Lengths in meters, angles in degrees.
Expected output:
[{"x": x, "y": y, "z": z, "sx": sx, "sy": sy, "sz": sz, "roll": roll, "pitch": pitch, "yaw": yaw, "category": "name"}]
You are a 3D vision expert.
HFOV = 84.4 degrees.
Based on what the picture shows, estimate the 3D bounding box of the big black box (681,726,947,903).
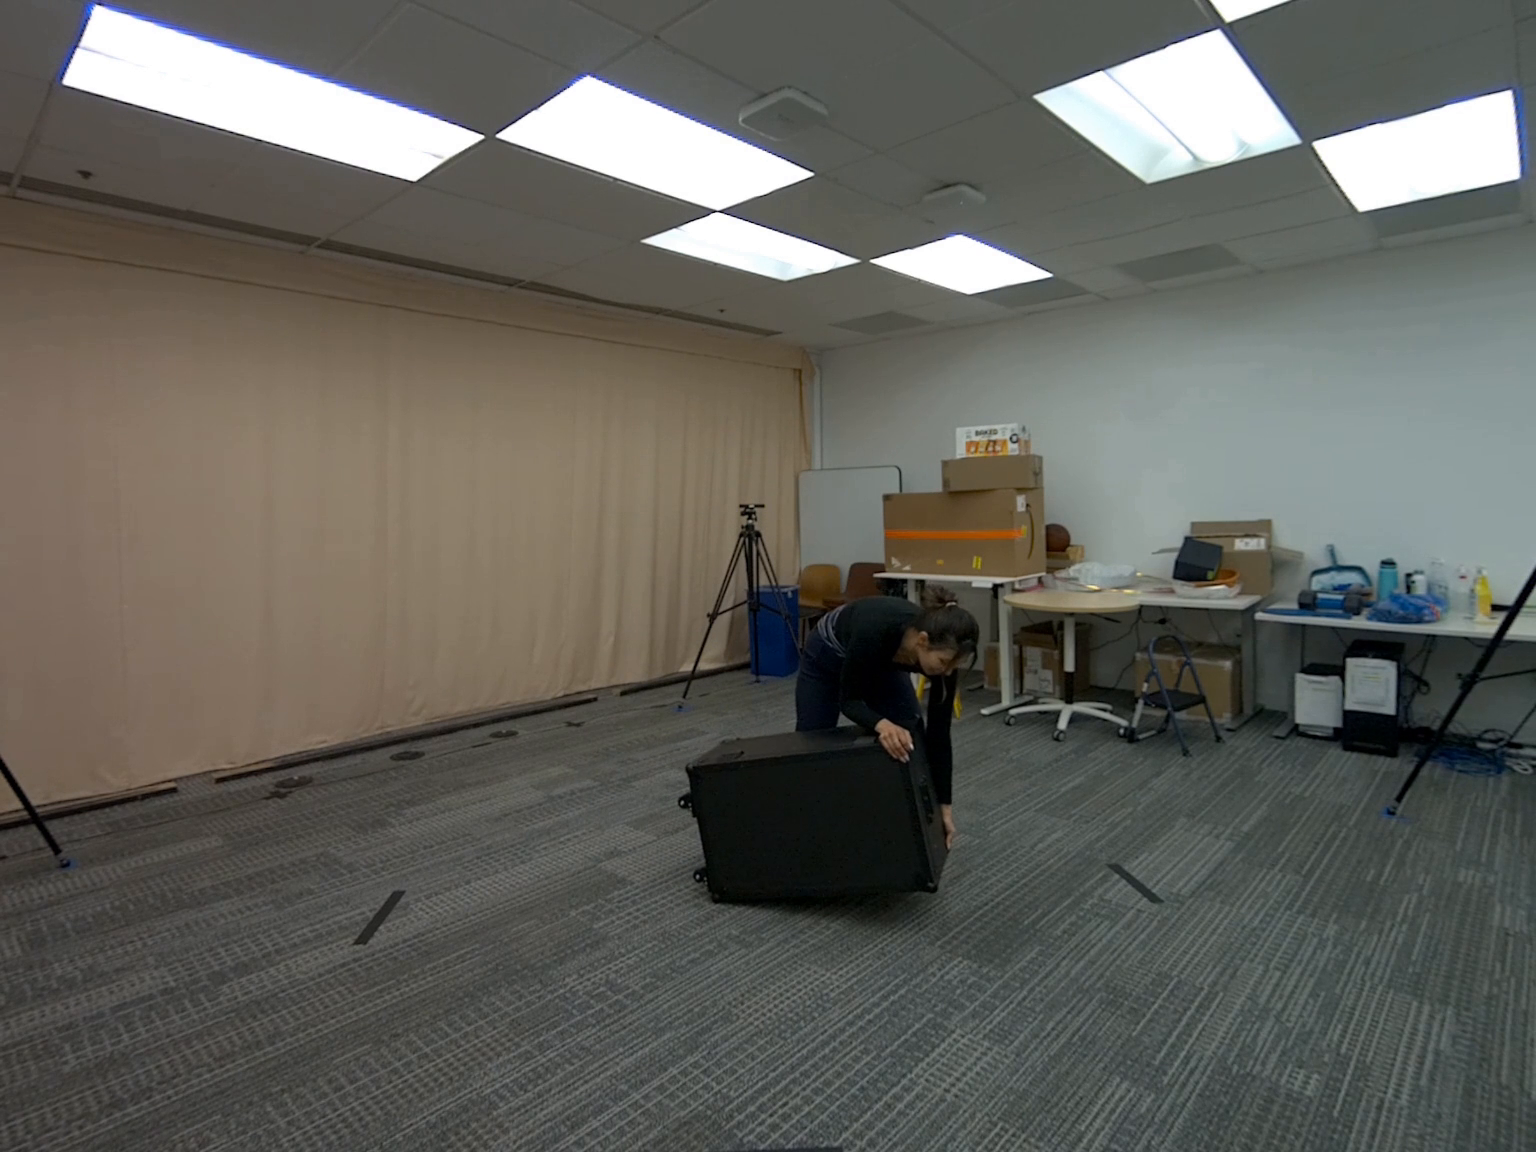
[{"x": 0.146, "y": 0.820, "z": 2.985, "sx": 0.878, "sy": 0.522, "sz": 0.388, "roll": -11, "pitch": -1, "yaw": 21, "category": "big black box"}]
